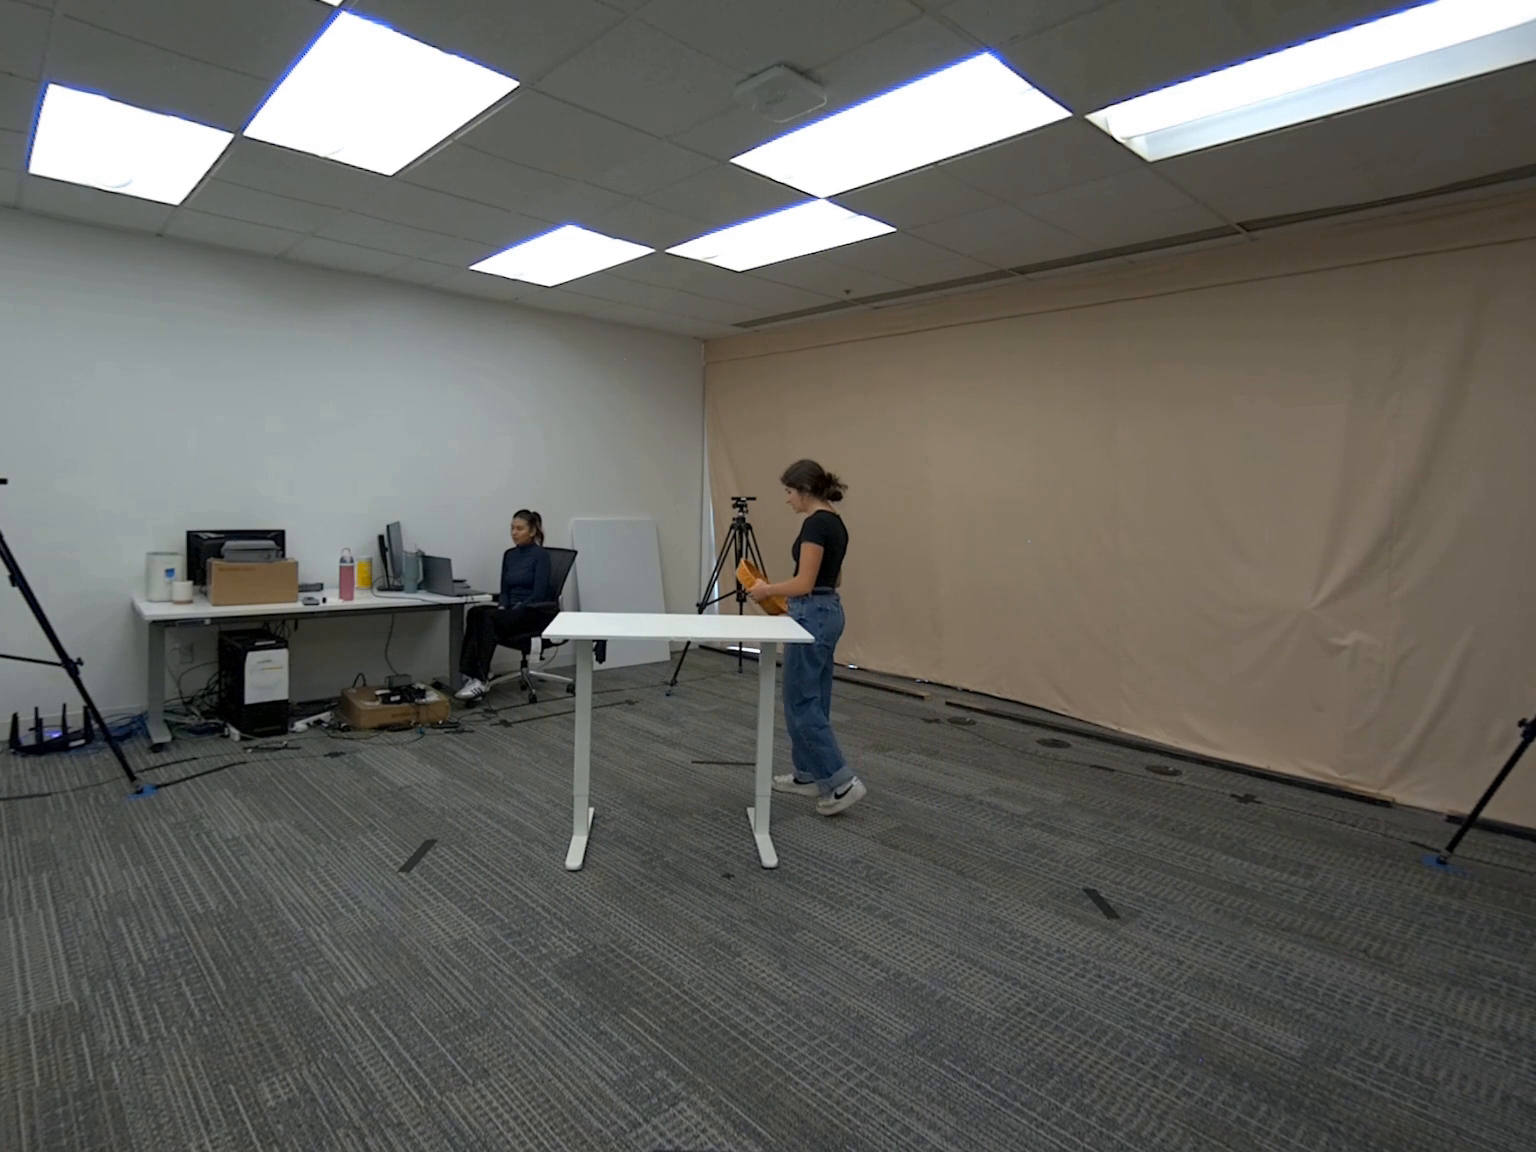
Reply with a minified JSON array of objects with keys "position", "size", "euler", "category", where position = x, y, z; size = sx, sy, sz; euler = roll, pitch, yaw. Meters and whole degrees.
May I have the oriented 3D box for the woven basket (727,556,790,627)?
[{"position":[-0.033,0.067,4.046],"size":[0.073,0.352,0.251],"euler":[-42,-4,8],"category":"woven basket"}]
